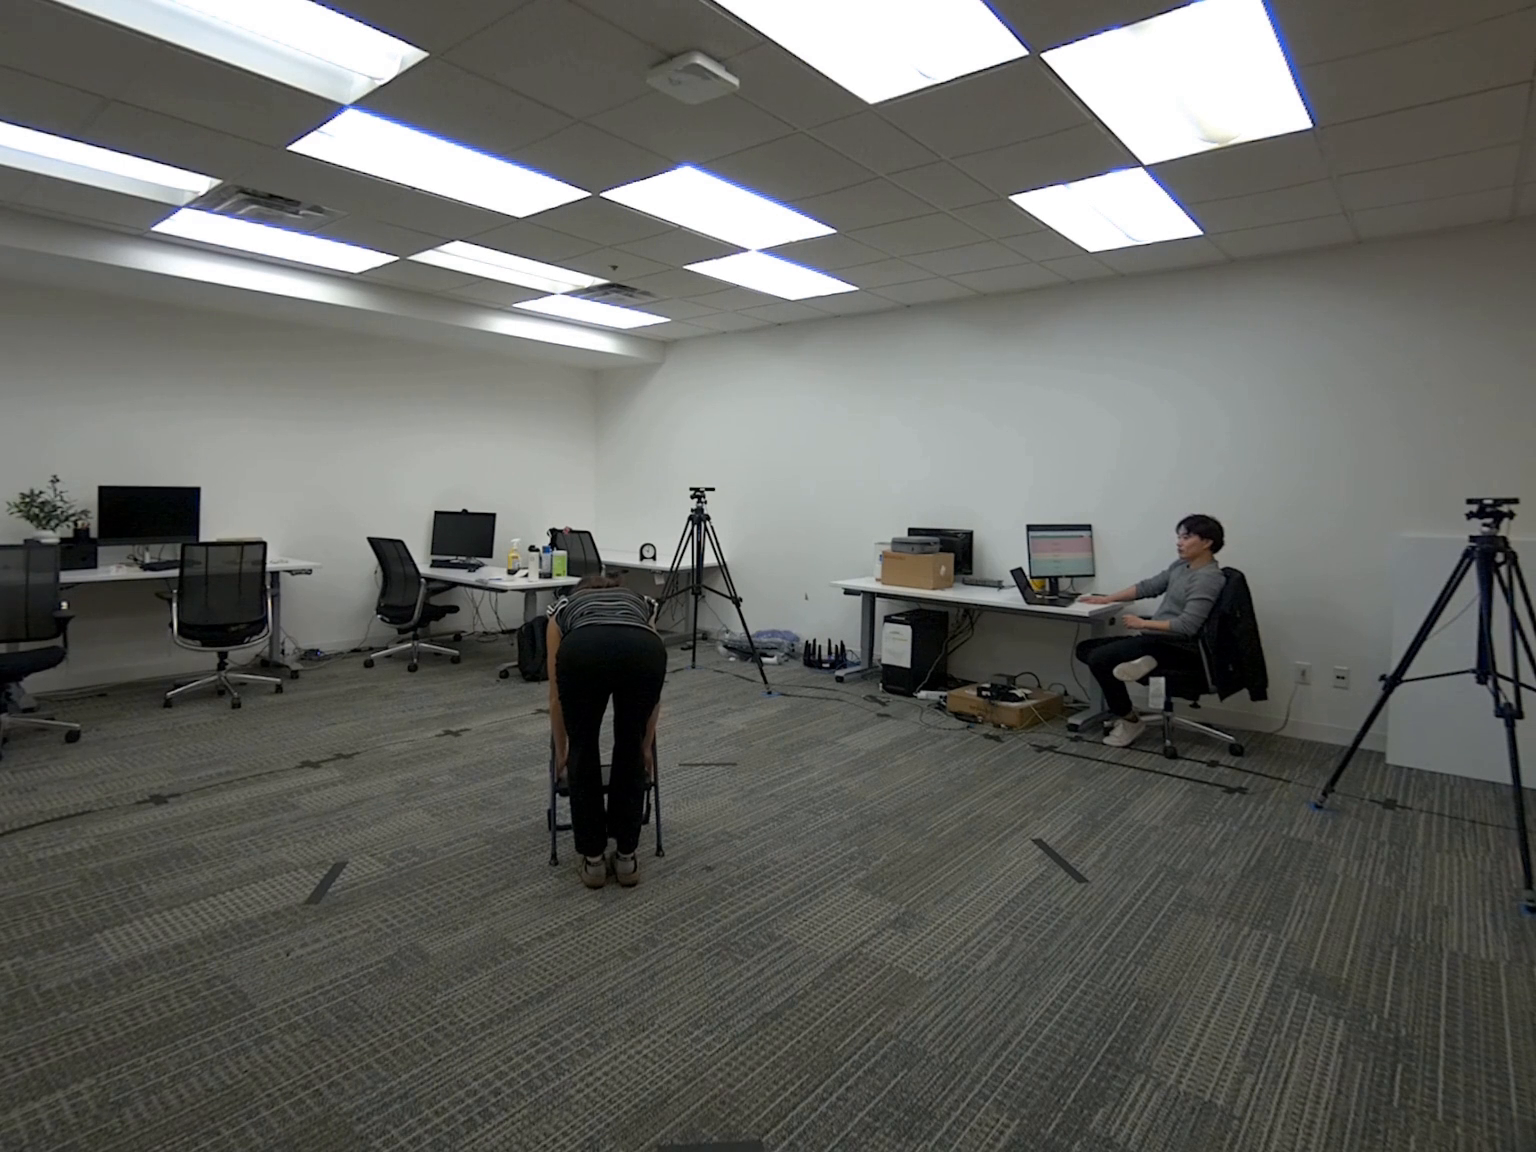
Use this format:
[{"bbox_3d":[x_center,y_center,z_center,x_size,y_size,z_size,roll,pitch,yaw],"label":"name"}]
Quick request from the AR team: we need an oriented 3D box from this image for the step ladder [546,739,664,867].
[{"bbox_3d":[-0.645,0.735,3.313,0.424,0.604,0.356,1,4,-16],"label":"step ladder"}]
